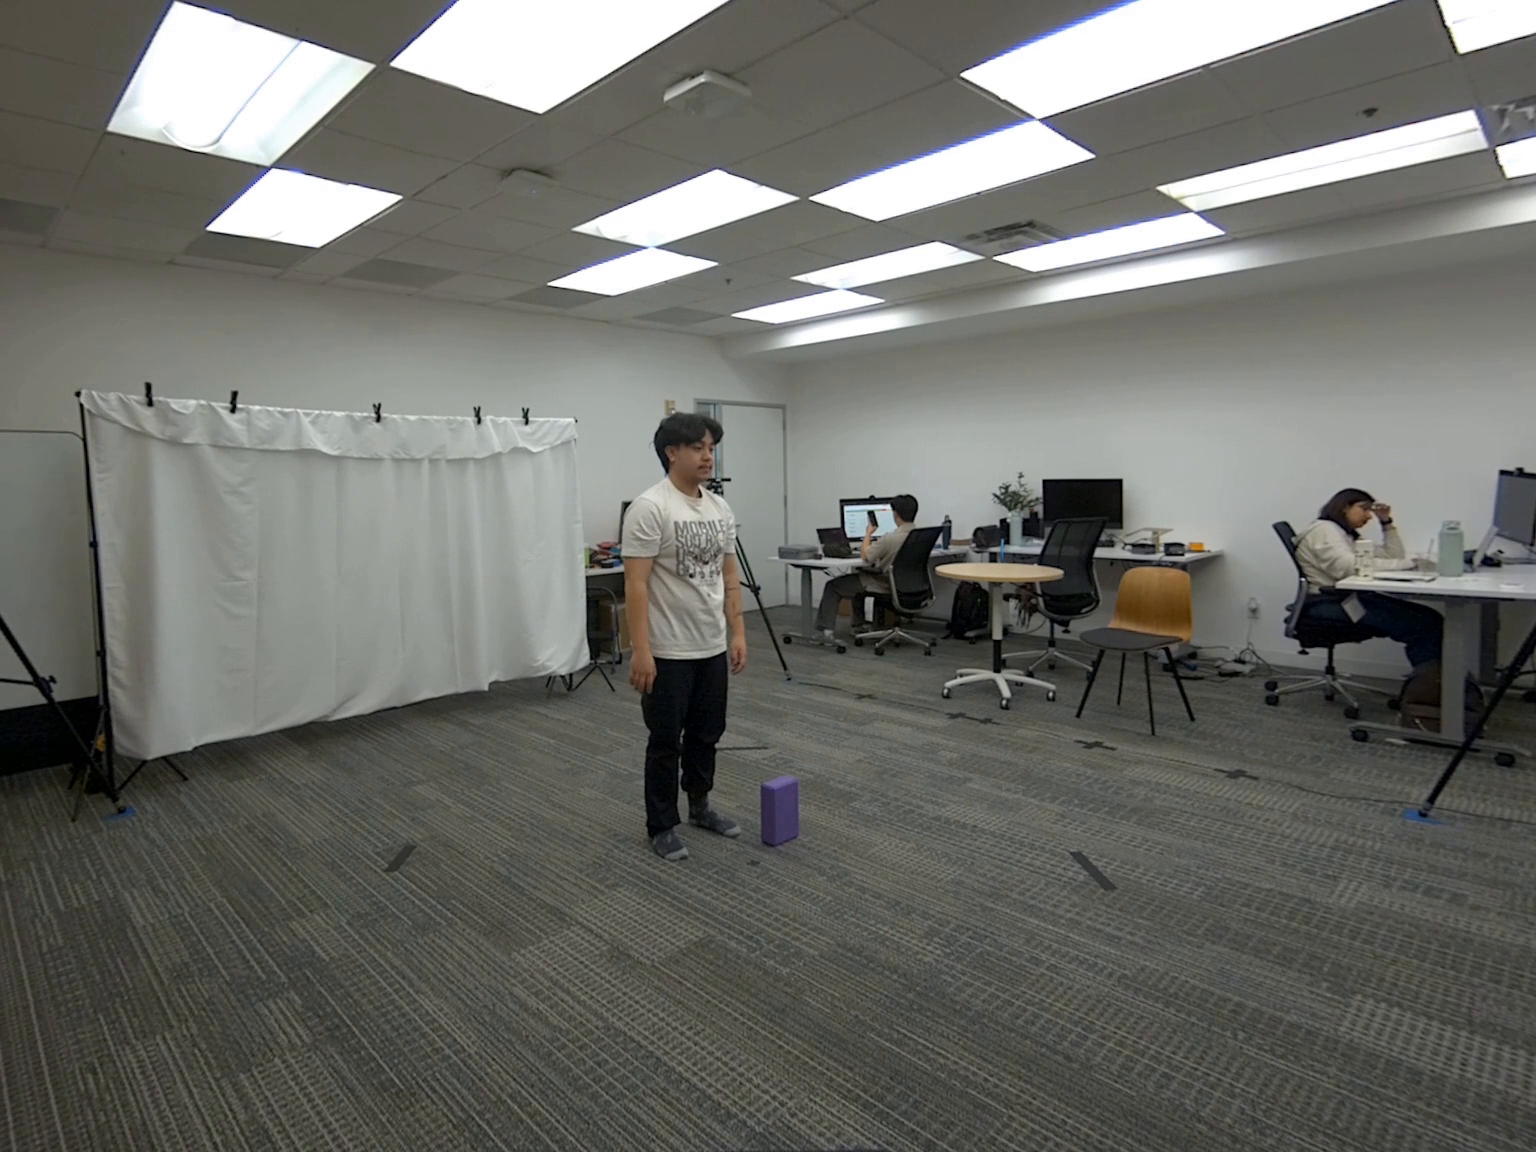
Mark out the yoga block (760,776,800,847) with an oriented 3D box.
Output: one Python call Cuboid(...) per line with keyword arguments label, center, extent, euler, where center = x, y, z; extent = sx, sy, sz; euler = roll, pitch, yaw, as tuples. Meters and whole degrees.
Cuboid(label="yoga block", center=(0.044, 0.896, 3.298), extent=(0.079, 0.229, 0.145), euler=(3, 4, 44))
